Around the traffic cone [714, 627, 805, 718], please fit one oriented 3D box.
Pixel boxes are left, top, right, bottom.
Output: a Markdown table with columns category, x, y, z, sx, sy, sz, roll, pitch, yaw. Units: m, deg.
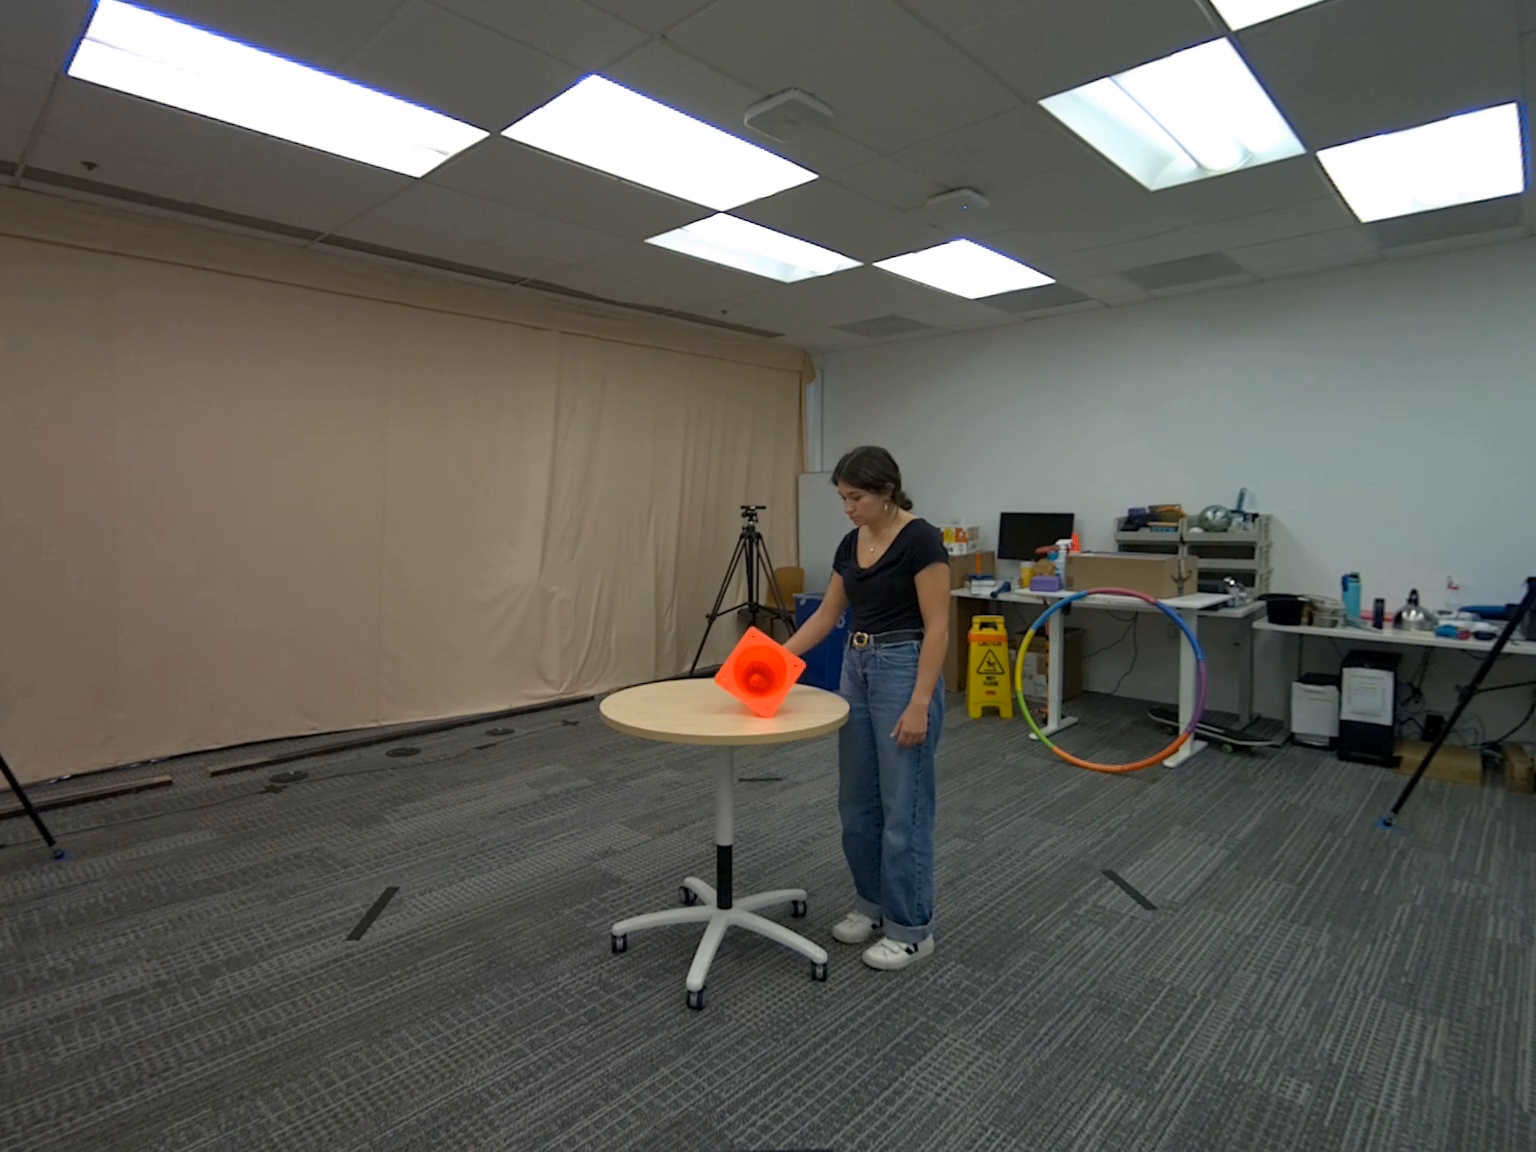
| category | x | y | z | sx | sy | sz | roll | pitch | yaw |
| --- | --- | --- | --- | --- | --- | --- | --- | --- | --- |
| traffic cone | -0.017 | 0.331 | 2.626 | 0.207 | 0.202 | 0.380 | 41 | -13 | 8 |
